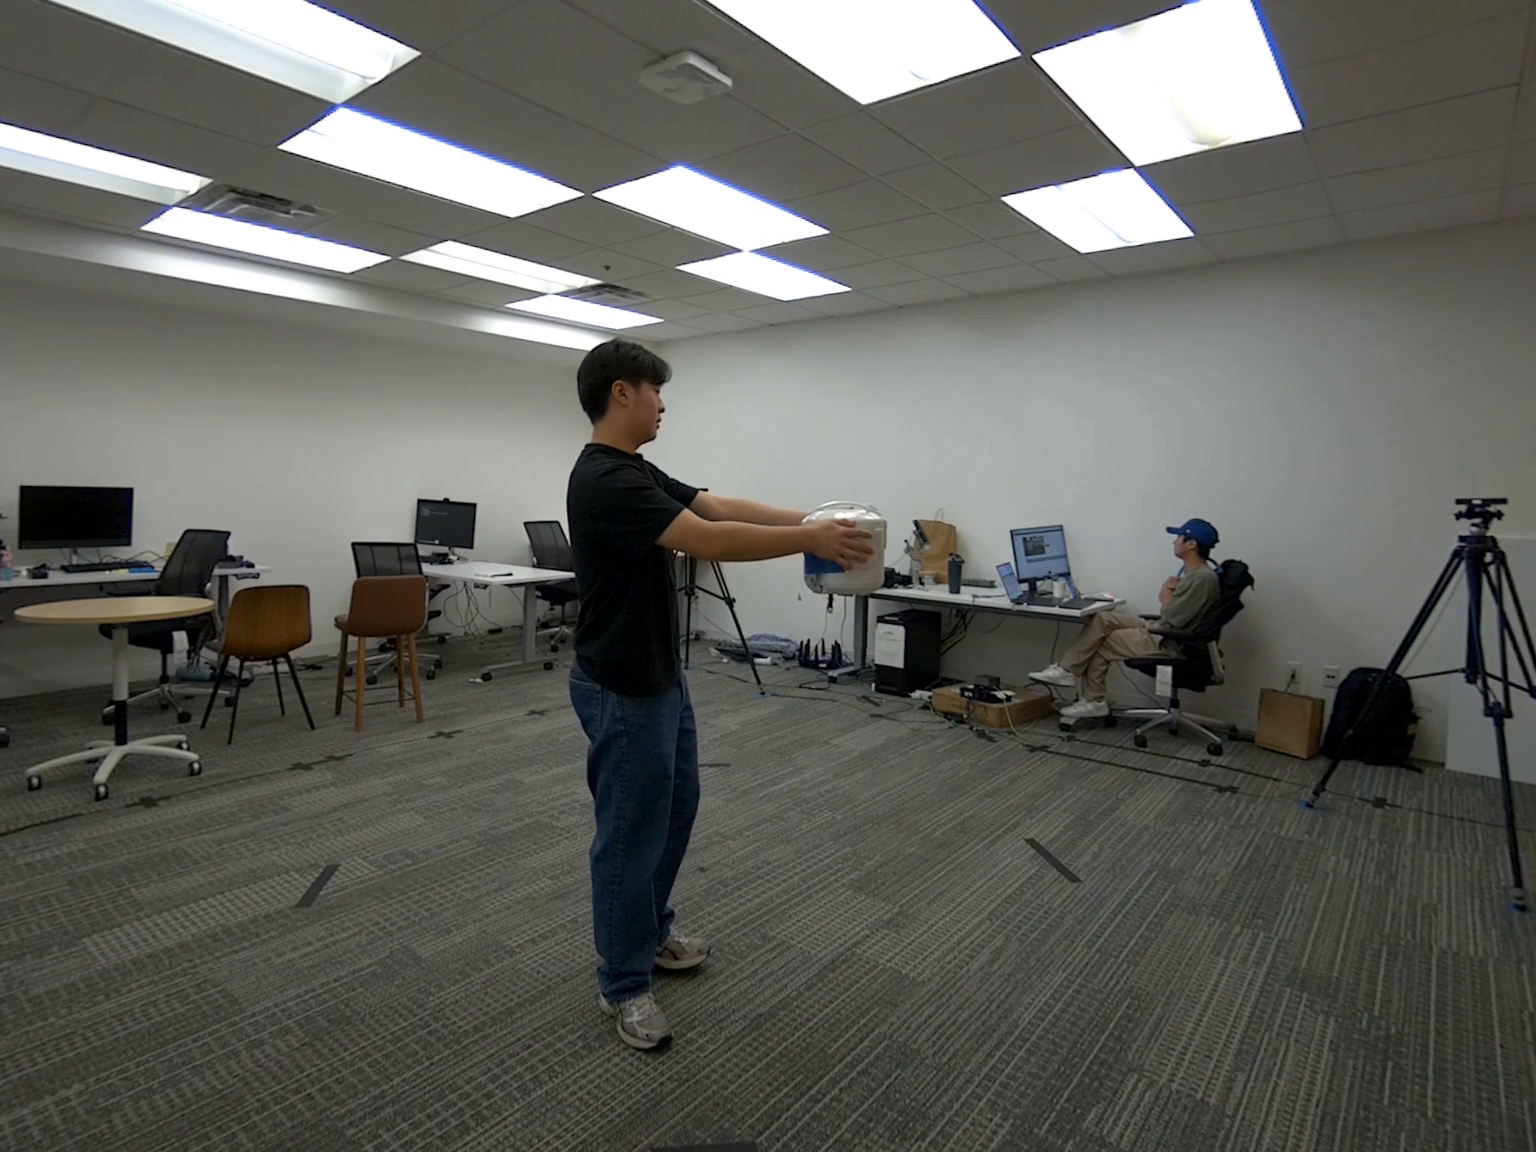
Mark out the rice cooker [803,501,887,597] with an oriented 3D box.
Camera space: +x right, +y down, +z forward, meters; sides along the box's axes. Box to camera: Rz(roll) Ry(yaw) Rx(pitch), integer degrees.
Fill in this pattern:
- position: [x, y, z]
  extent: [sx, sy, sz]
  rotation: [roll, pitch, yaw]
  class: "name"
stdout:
- position: [0.186, -0.076, 2.173]
  extent: [0.222, 0.232, 0.216]
  rotation: [1, 4, 5]
  class: "rice cooker"
